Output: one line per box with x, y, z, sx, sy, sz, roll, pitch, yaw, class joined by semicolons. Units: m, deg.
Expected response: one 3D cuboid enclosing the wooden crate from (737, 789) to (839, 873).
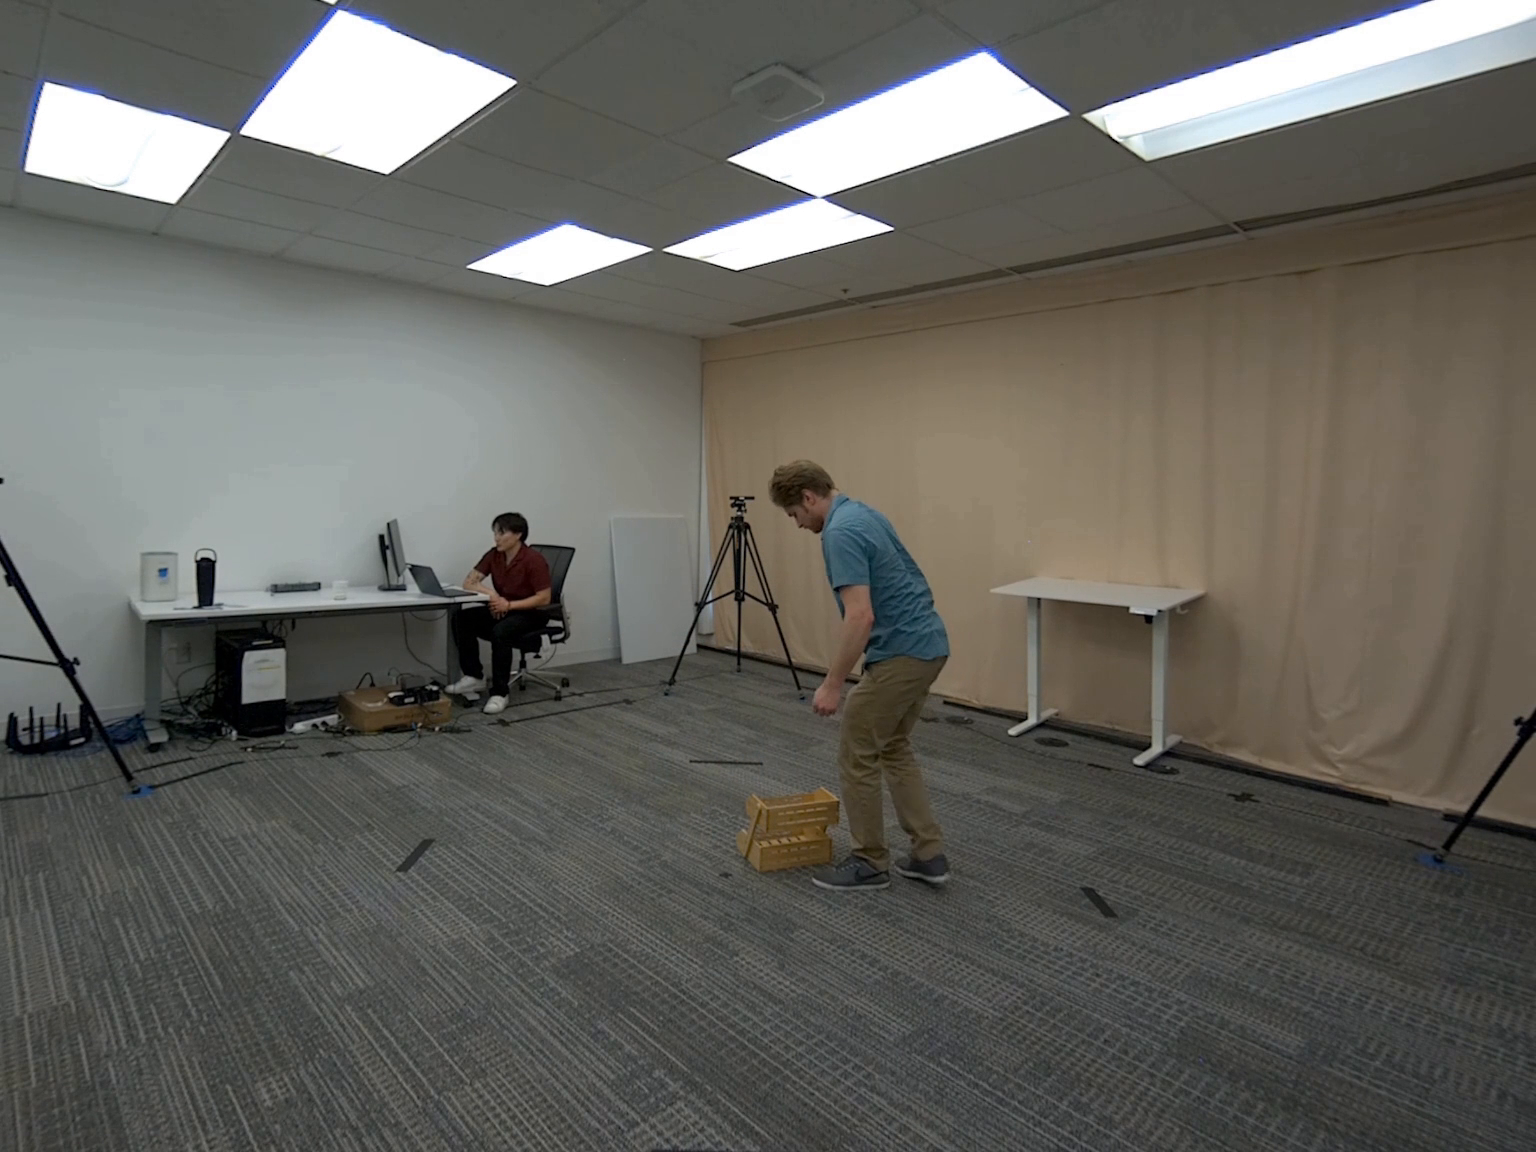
0.061;0.960;3.277;0.319;0.272;0.308;0;4;-23;wooden crate
